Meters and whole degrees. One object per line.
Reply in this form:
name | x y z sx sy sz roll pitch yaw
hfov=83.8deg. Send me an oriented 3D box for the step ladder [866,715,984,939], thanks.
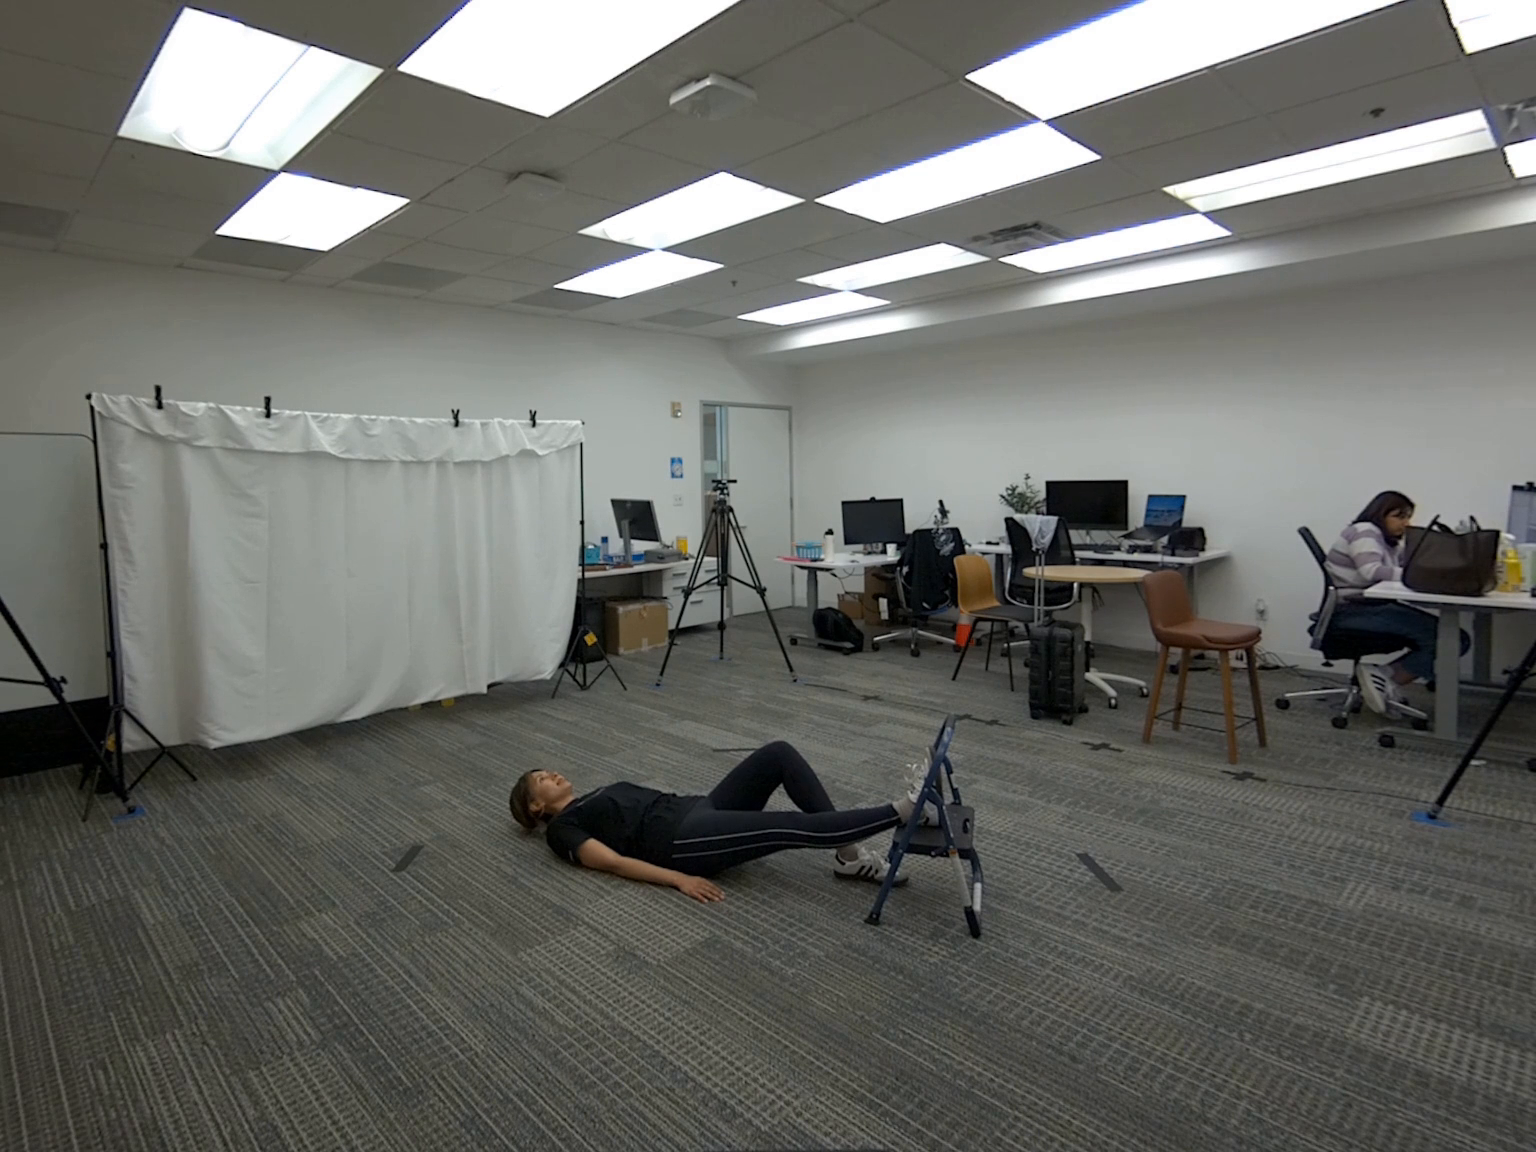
step ladder | 0.527 0.770 2.799 0.355 0.604 0.425 0 4 16
